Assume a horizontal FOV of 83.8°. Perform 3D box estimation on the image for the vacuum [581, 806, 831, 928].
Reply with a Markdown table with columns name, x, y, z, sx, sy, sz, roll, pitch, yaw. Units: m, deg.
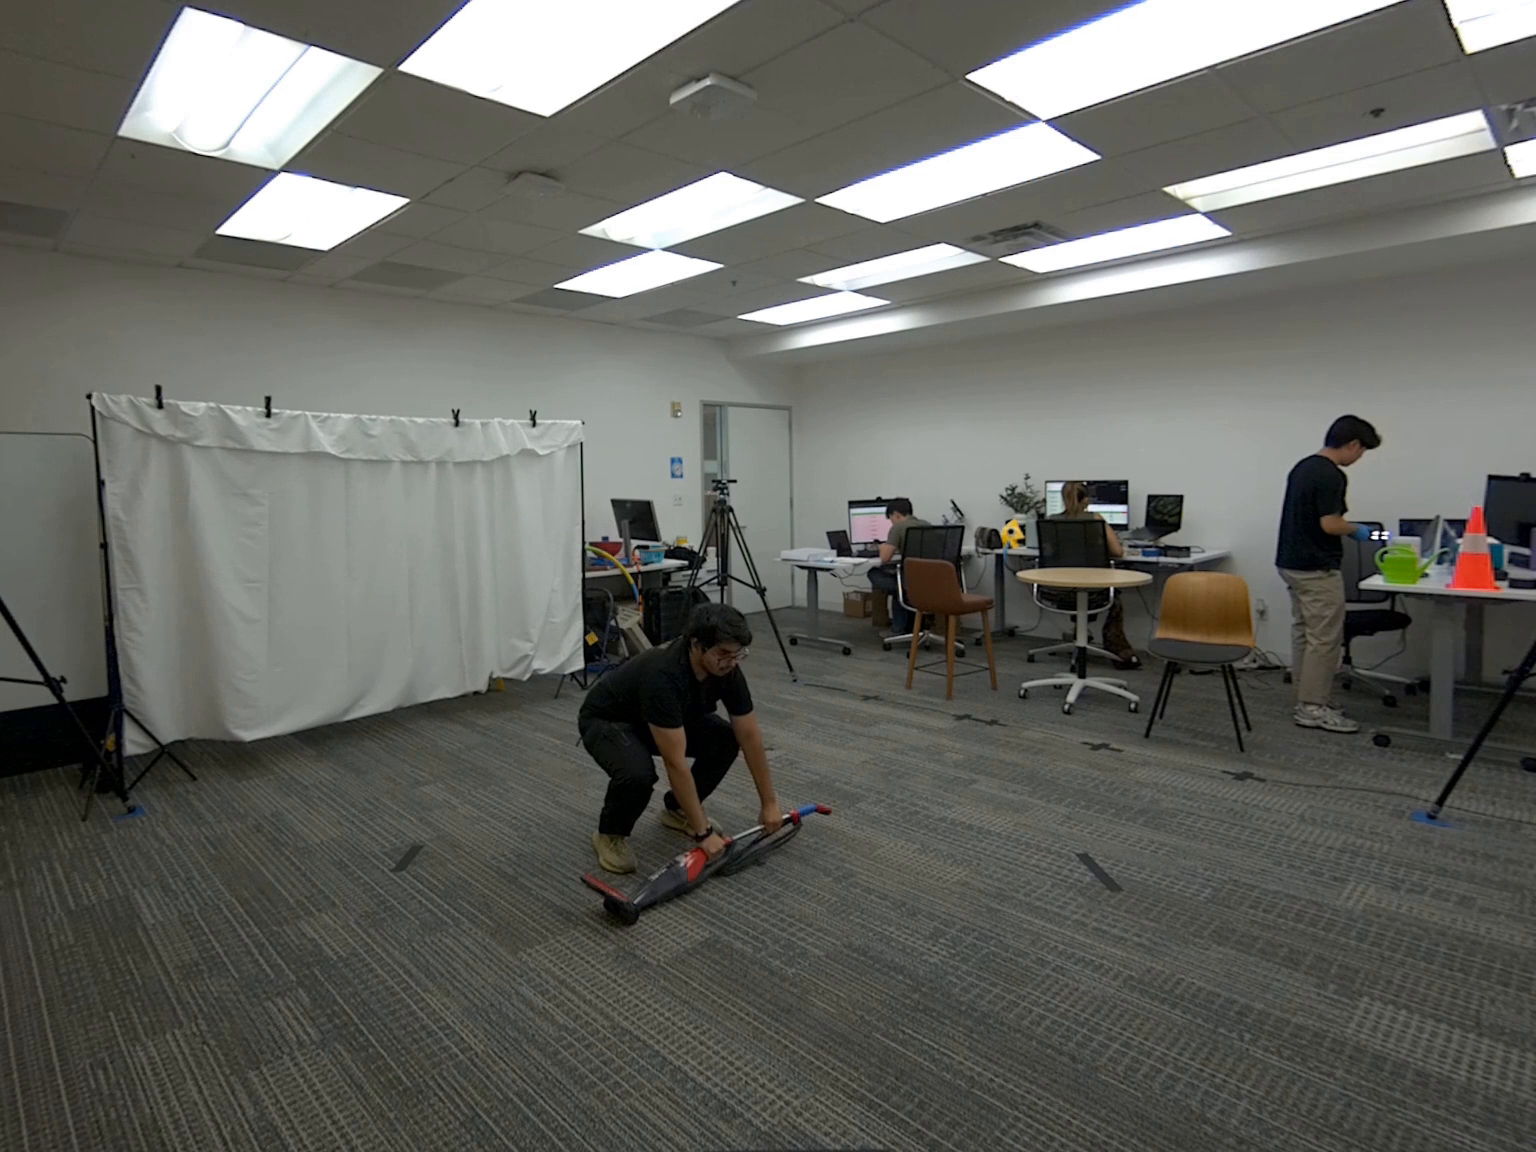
| name | x | y | z | sx | sy | sz | roll | pitch | yaw |
| --- | --- | --- | --- | --- | --- | --- | --- | --- | --- |
| vacuum | -0.126 | 0.991 | 3.056 | 1.022 | 0.144 | 0.260 | -6 | 4 | -42 |
